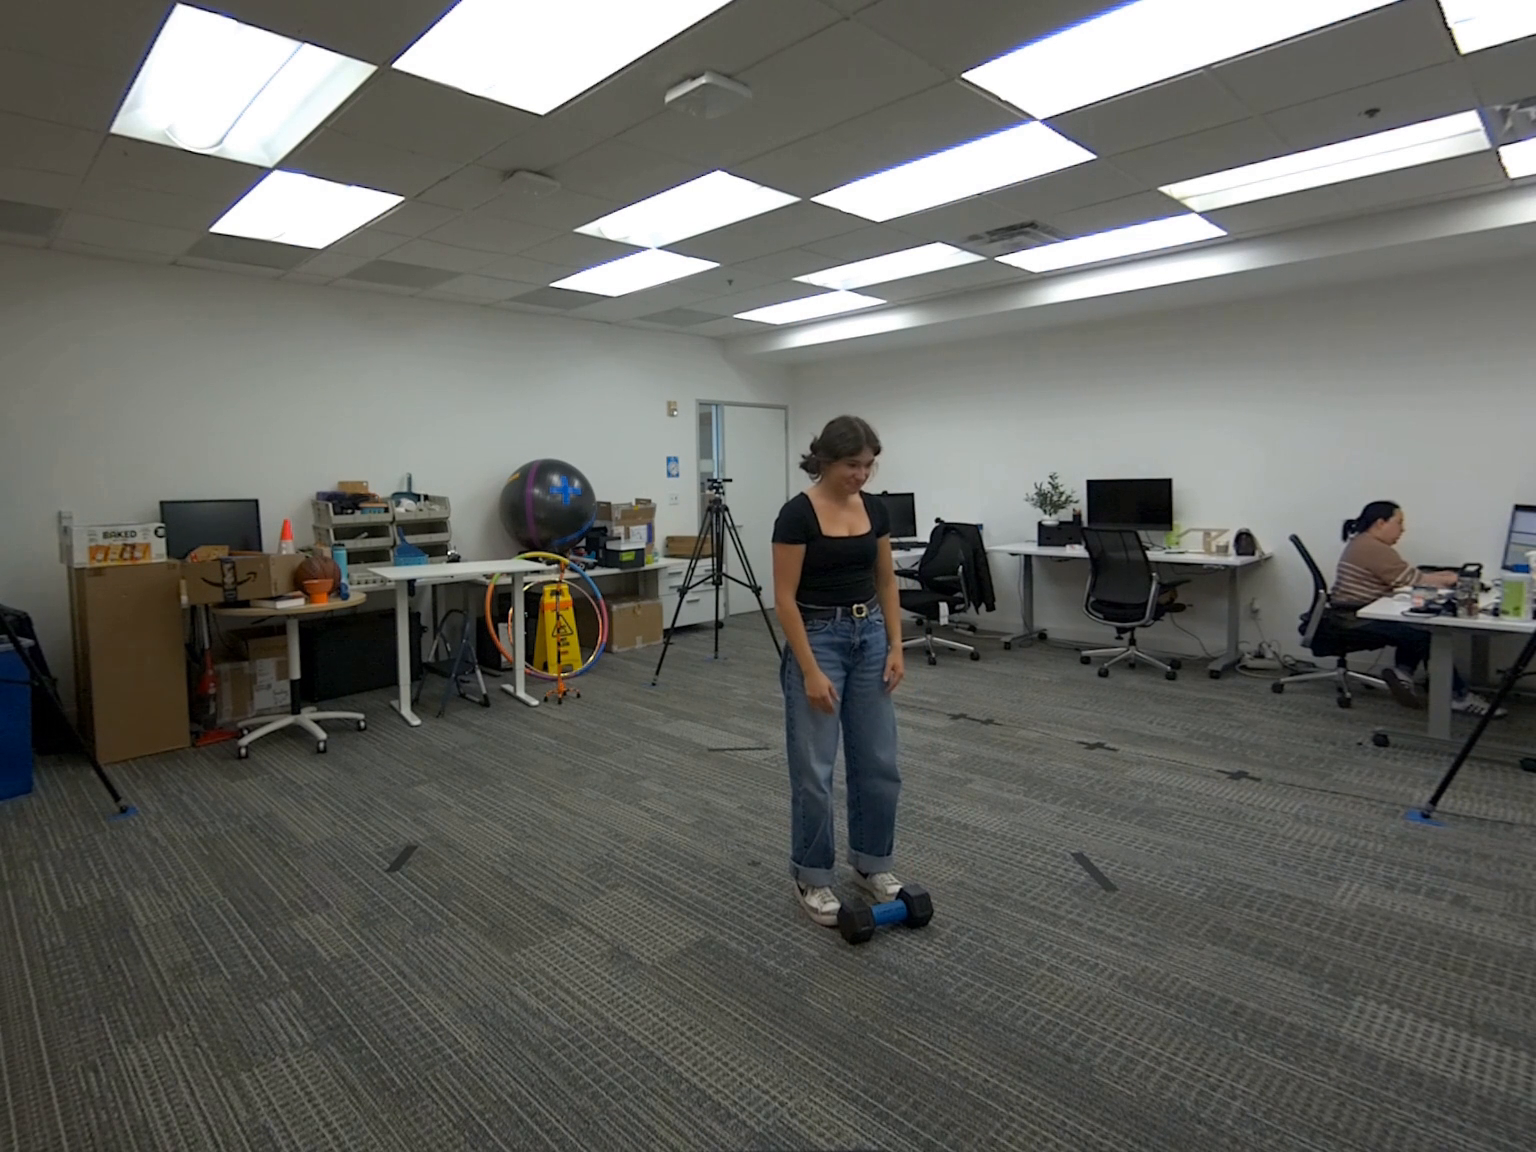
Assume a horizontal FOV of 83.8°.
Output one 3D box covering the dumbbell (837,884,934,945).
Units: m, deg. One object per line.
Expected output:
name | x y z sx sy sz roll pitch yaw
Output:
dumbbell | 0.368 1.041 2.624 0.288 0.121 0.113 -4 35 -23
